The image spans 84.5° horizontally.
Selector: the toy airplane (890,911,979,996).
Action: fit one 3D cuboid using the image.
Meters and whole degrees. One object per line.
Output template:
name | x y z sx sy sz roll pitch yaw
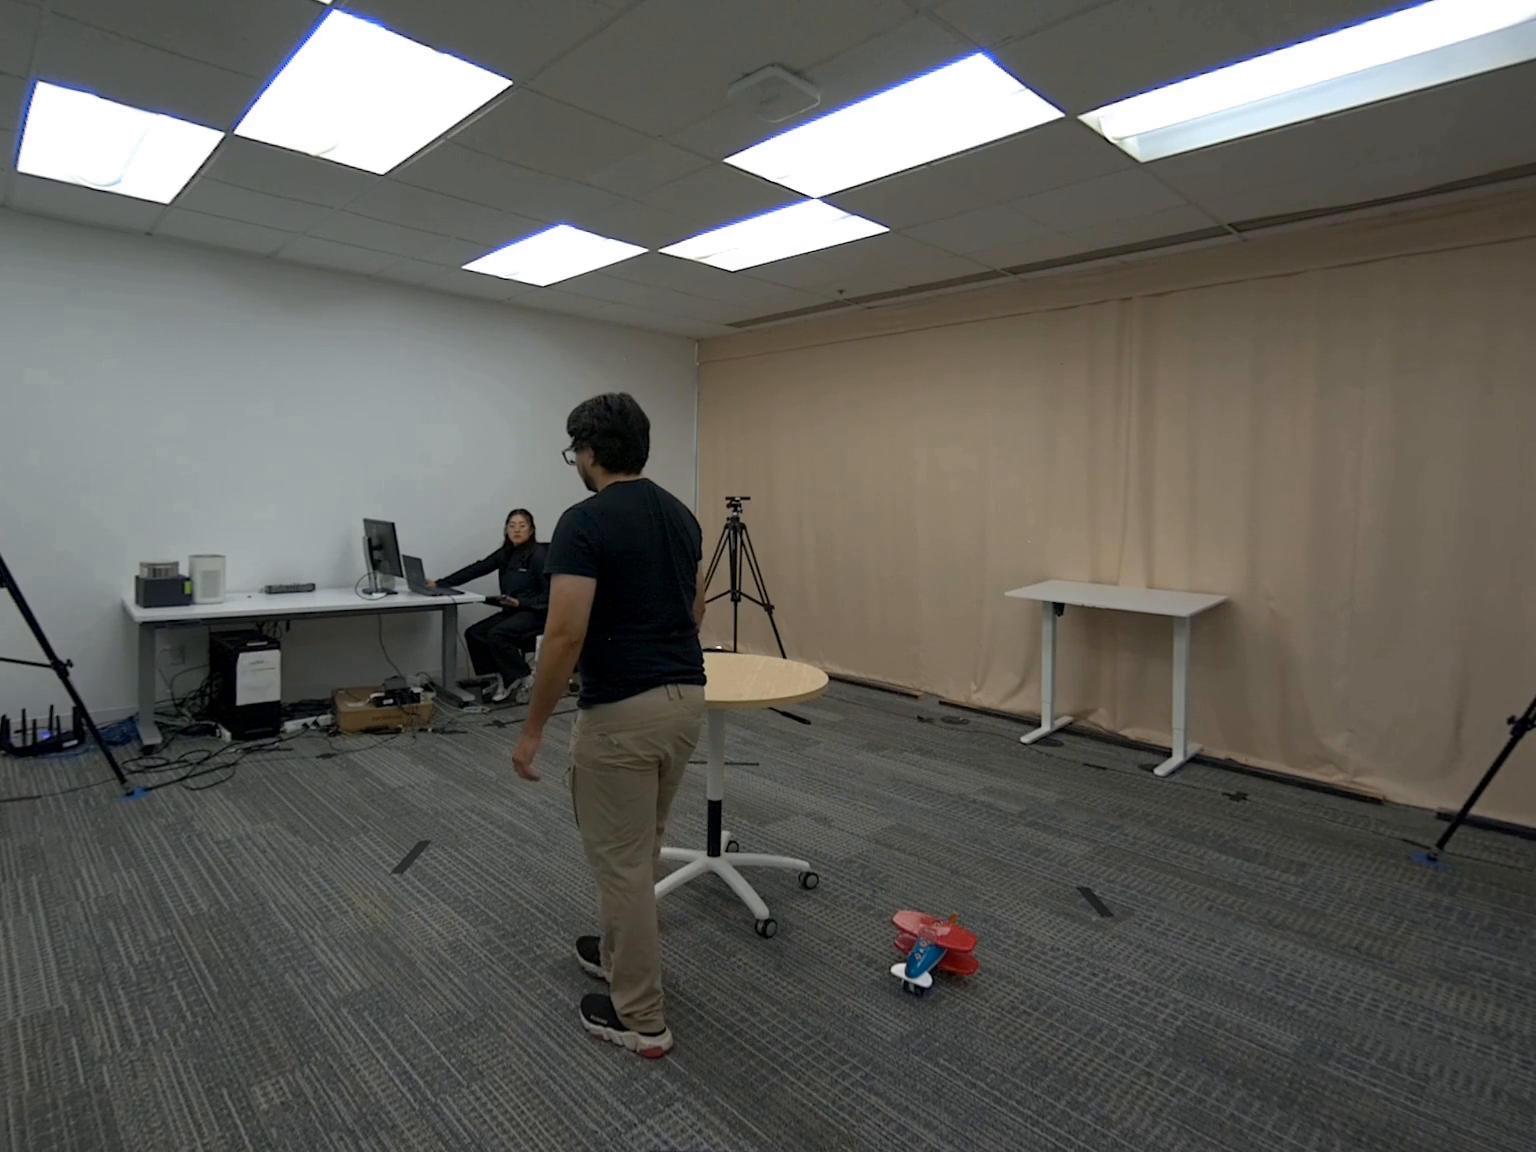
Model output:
toy airplane | 0.483 1.109 2.448 0.253 0.156 0.257 3 3 9
